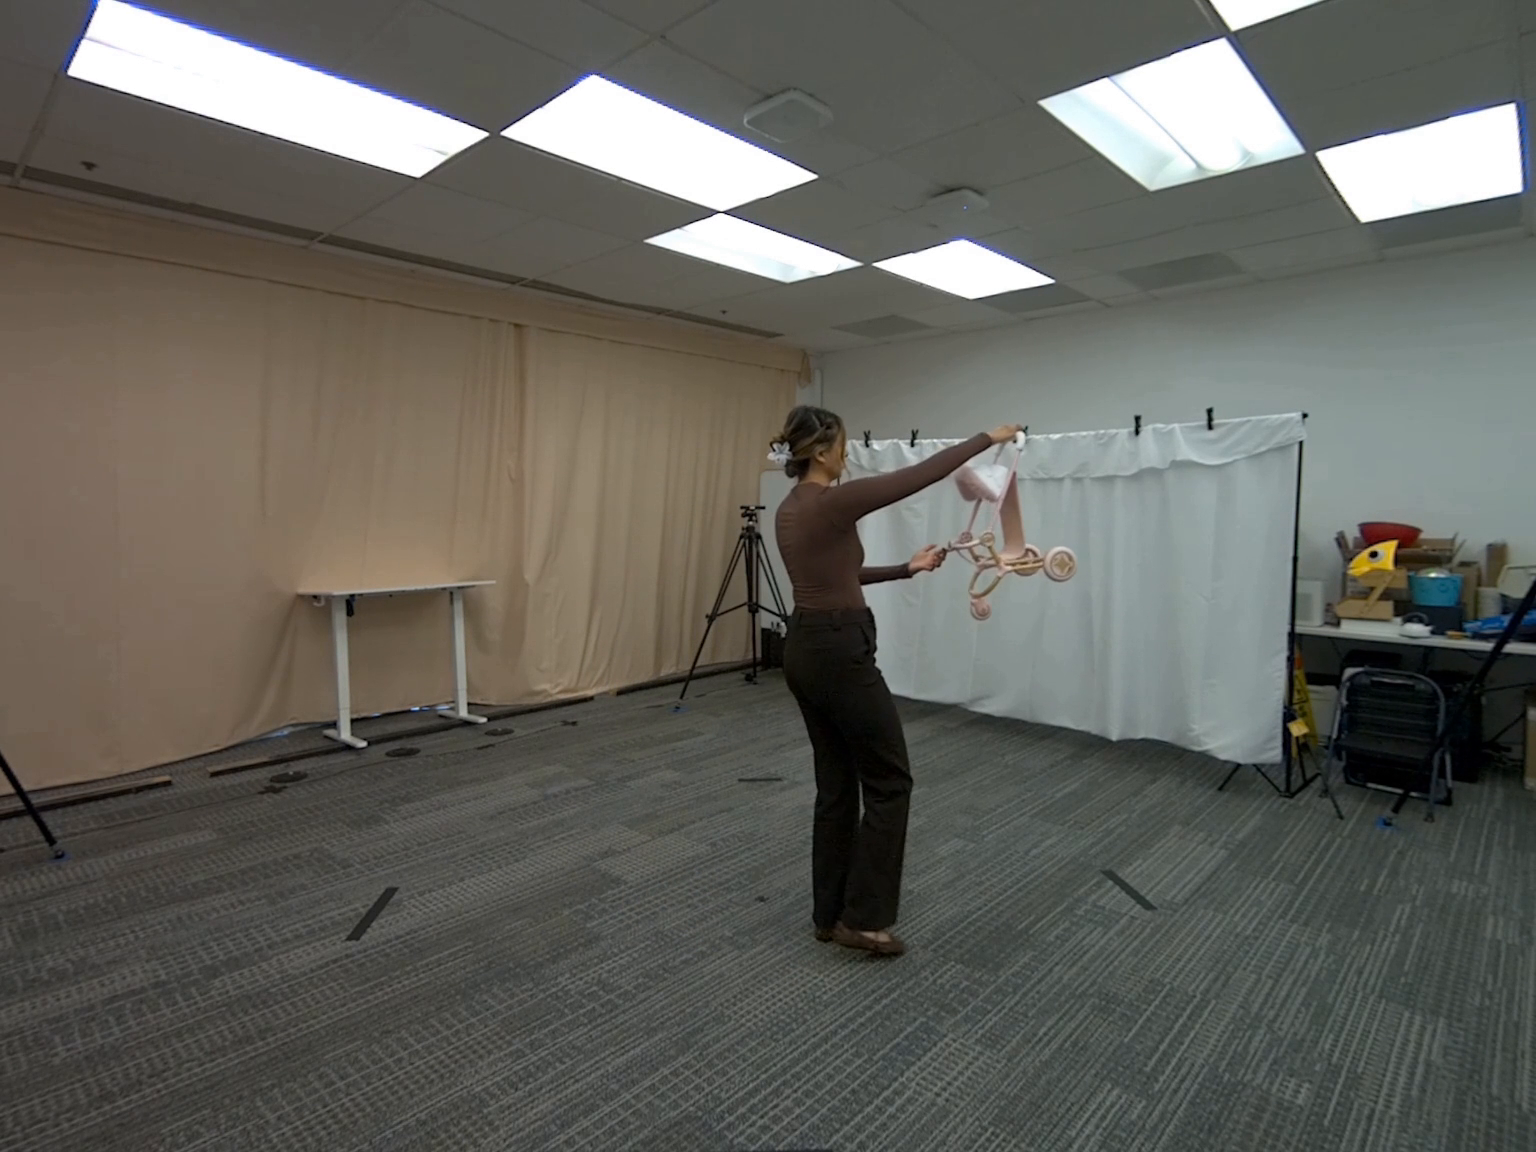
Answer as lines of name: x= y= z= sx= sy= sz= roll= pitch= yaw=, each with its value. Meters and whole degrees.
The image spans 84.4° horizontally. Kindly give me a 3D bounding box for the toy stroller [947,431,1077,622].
toy stroller: x=0.750 y=-0.148 z=2.728 sx=0.342 sy=0.533 sz=0.282 roll=-19 pitch=4 yaw=1
